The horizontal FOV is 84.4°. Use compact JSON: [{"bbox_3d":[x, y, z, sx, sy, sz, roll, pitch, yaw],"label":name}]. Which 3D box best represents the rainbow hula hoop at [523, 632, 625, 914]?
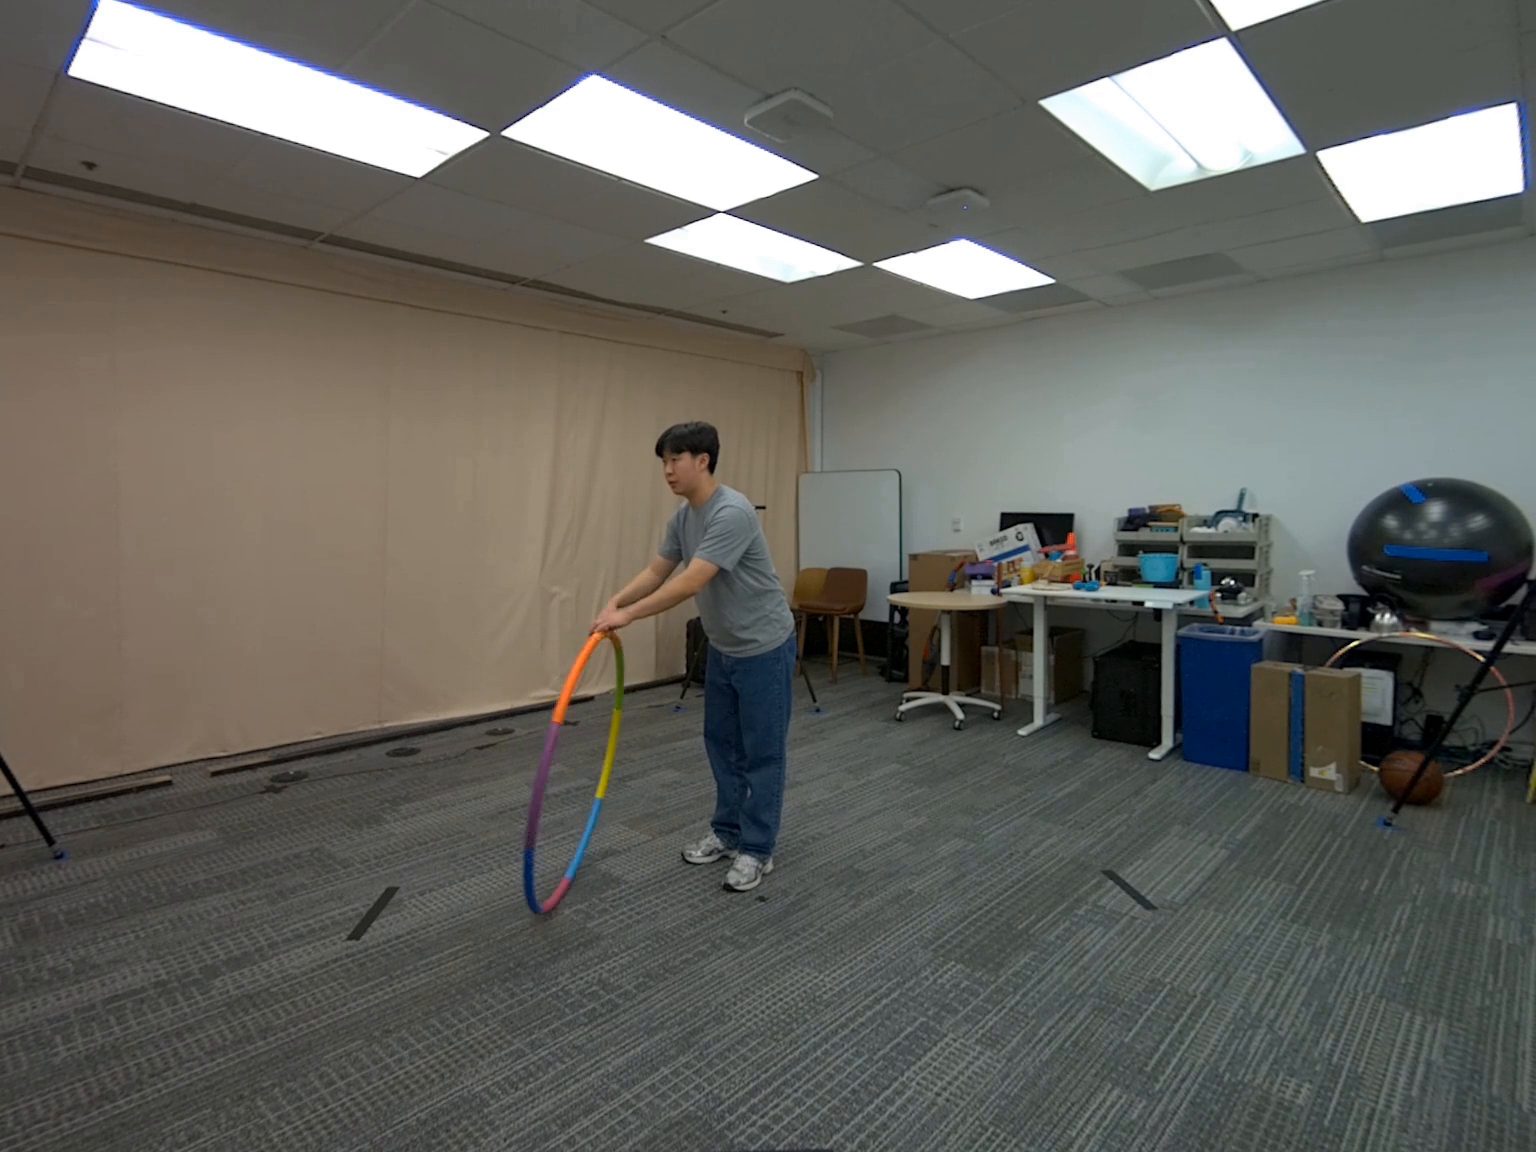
[{"bbox_3d":[-0.666,0.673,2.964,0.036,0.977,0.974,11,5,3],"label":"rainbow hula hoop"}]
